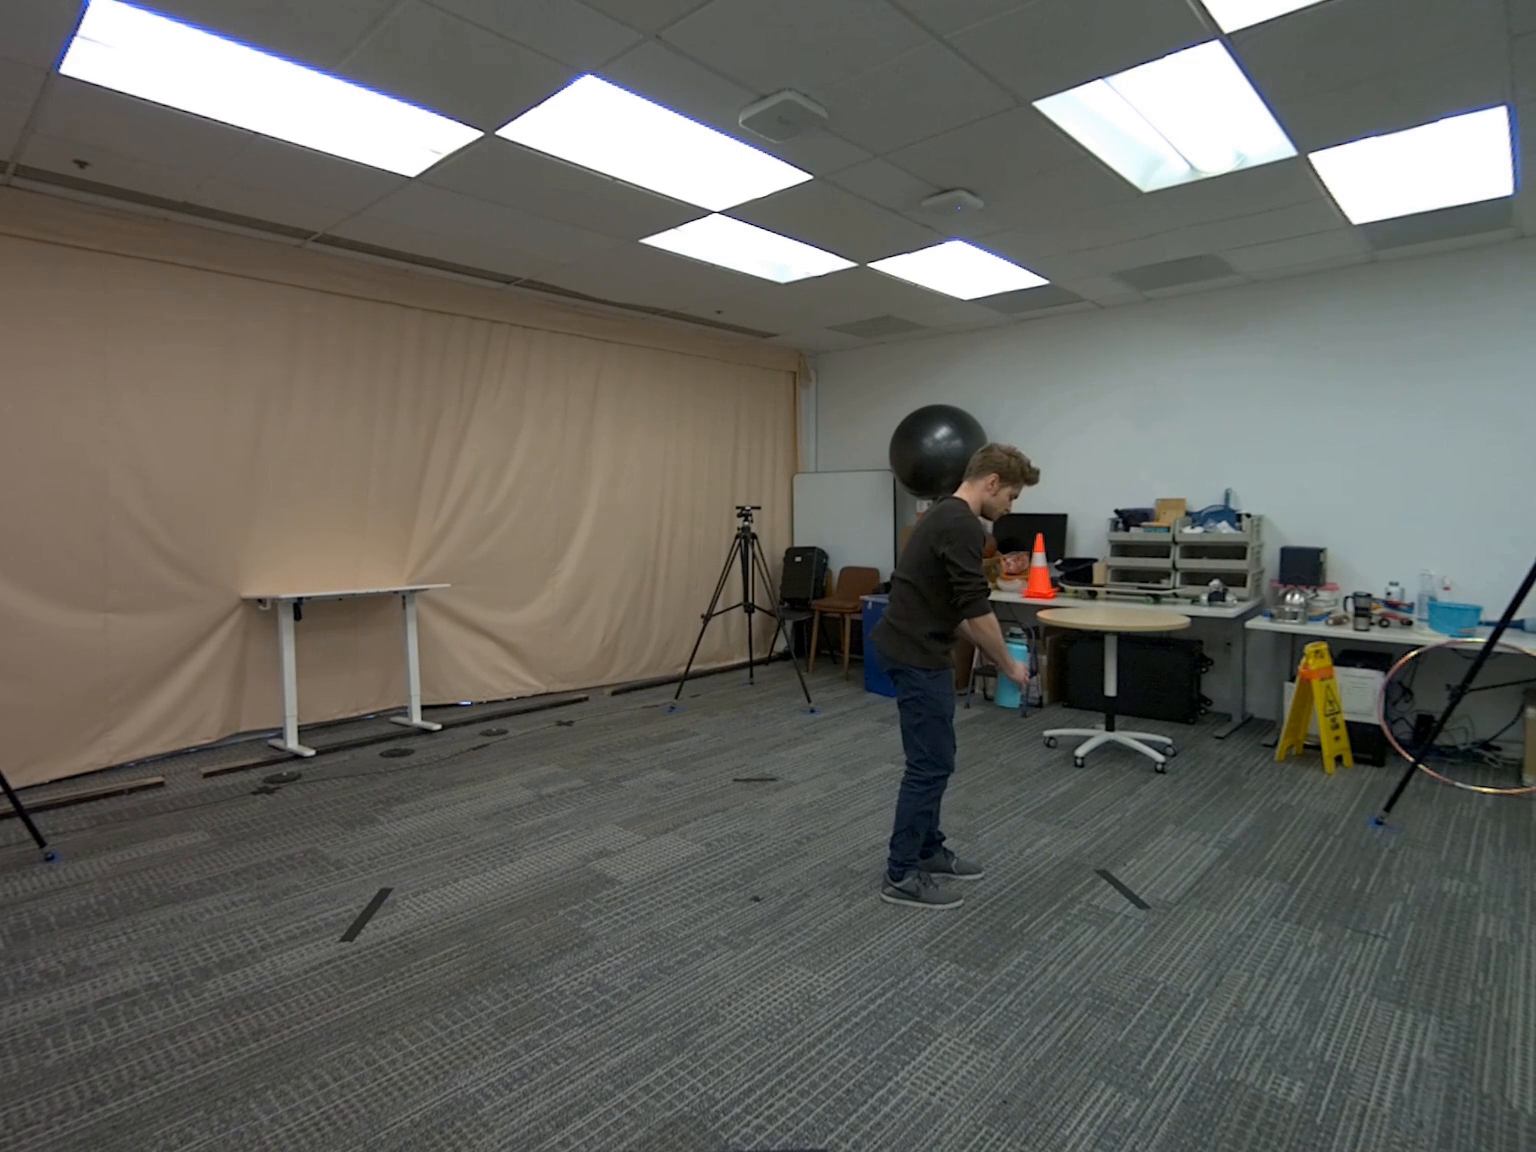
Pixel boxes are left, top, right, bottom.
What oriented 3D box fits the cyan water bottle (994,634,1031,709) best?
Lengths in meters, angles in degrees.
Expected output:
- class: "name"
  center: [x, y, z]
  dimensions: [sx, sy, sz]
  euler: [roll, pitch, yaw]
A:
- class: "cyan water bottle"
  center: [0.902, 0.343, 3.070]
  dimensions: [0.092, 0.283, 0.092]
  euler: [10, 0, -2]
